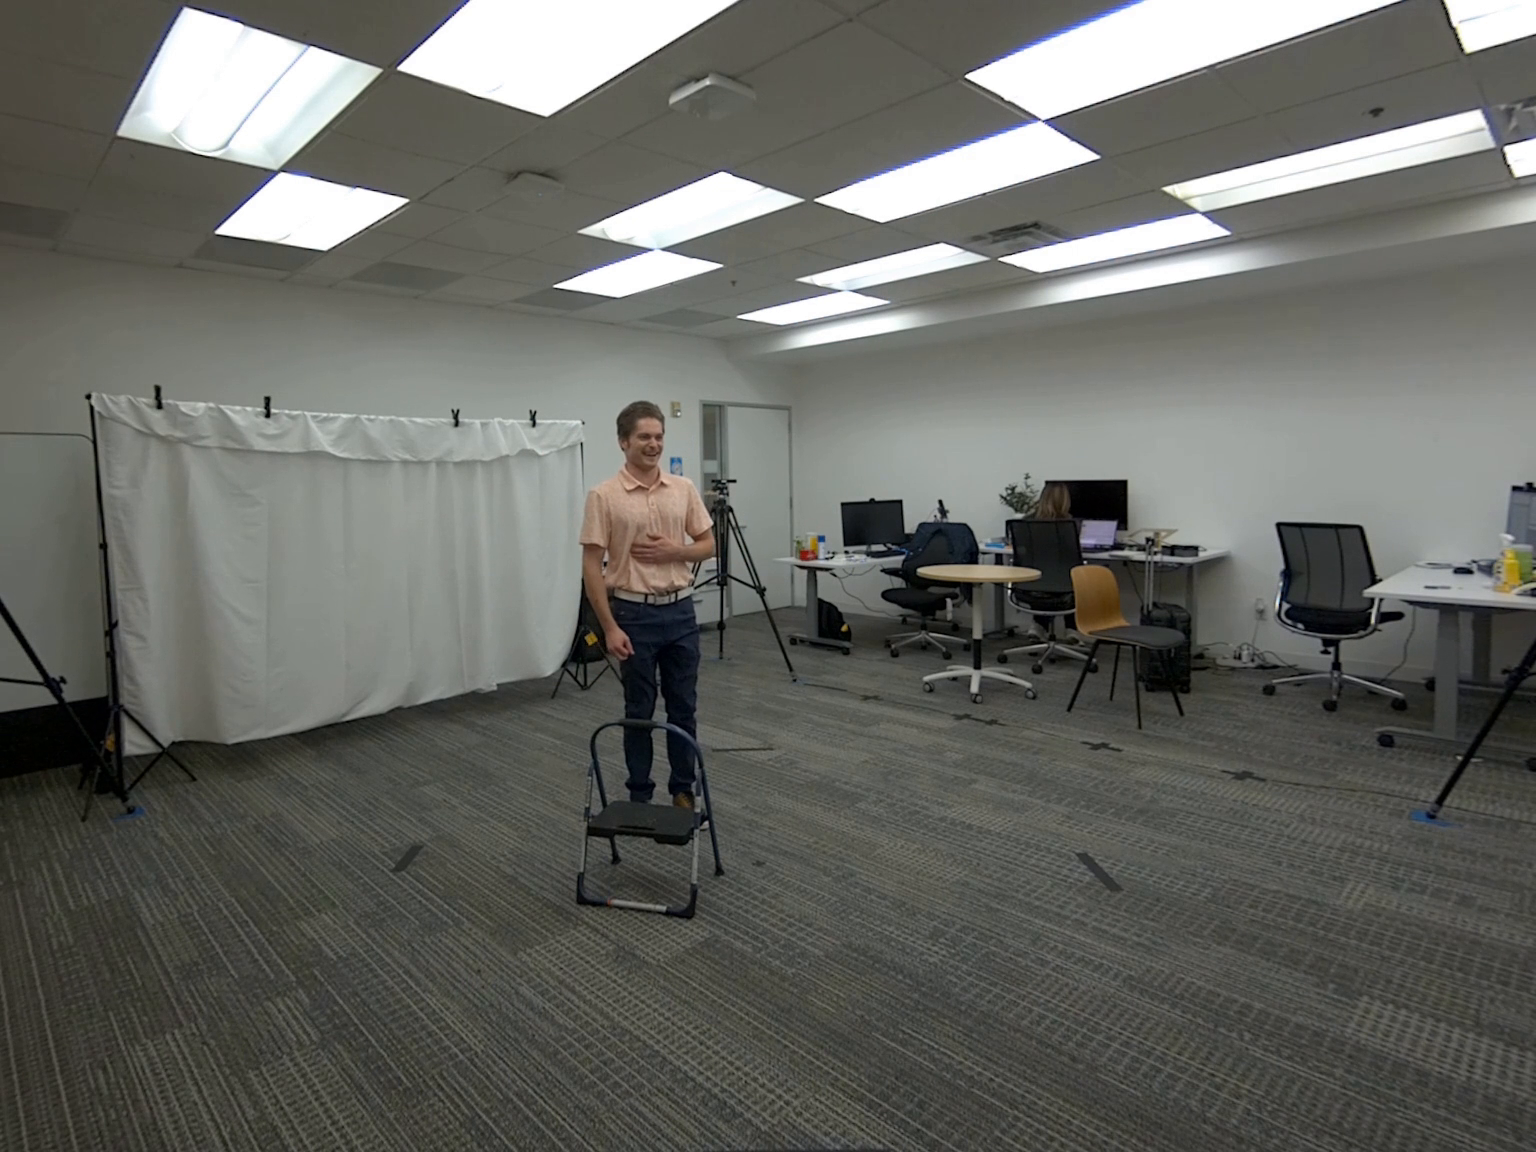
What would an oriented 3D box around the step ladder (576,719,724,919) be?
[{"bbox_3d":[-0.405,0.776,2.923,0.437,0.604,0.345,0,4,14],"label":"step ladder"}]
